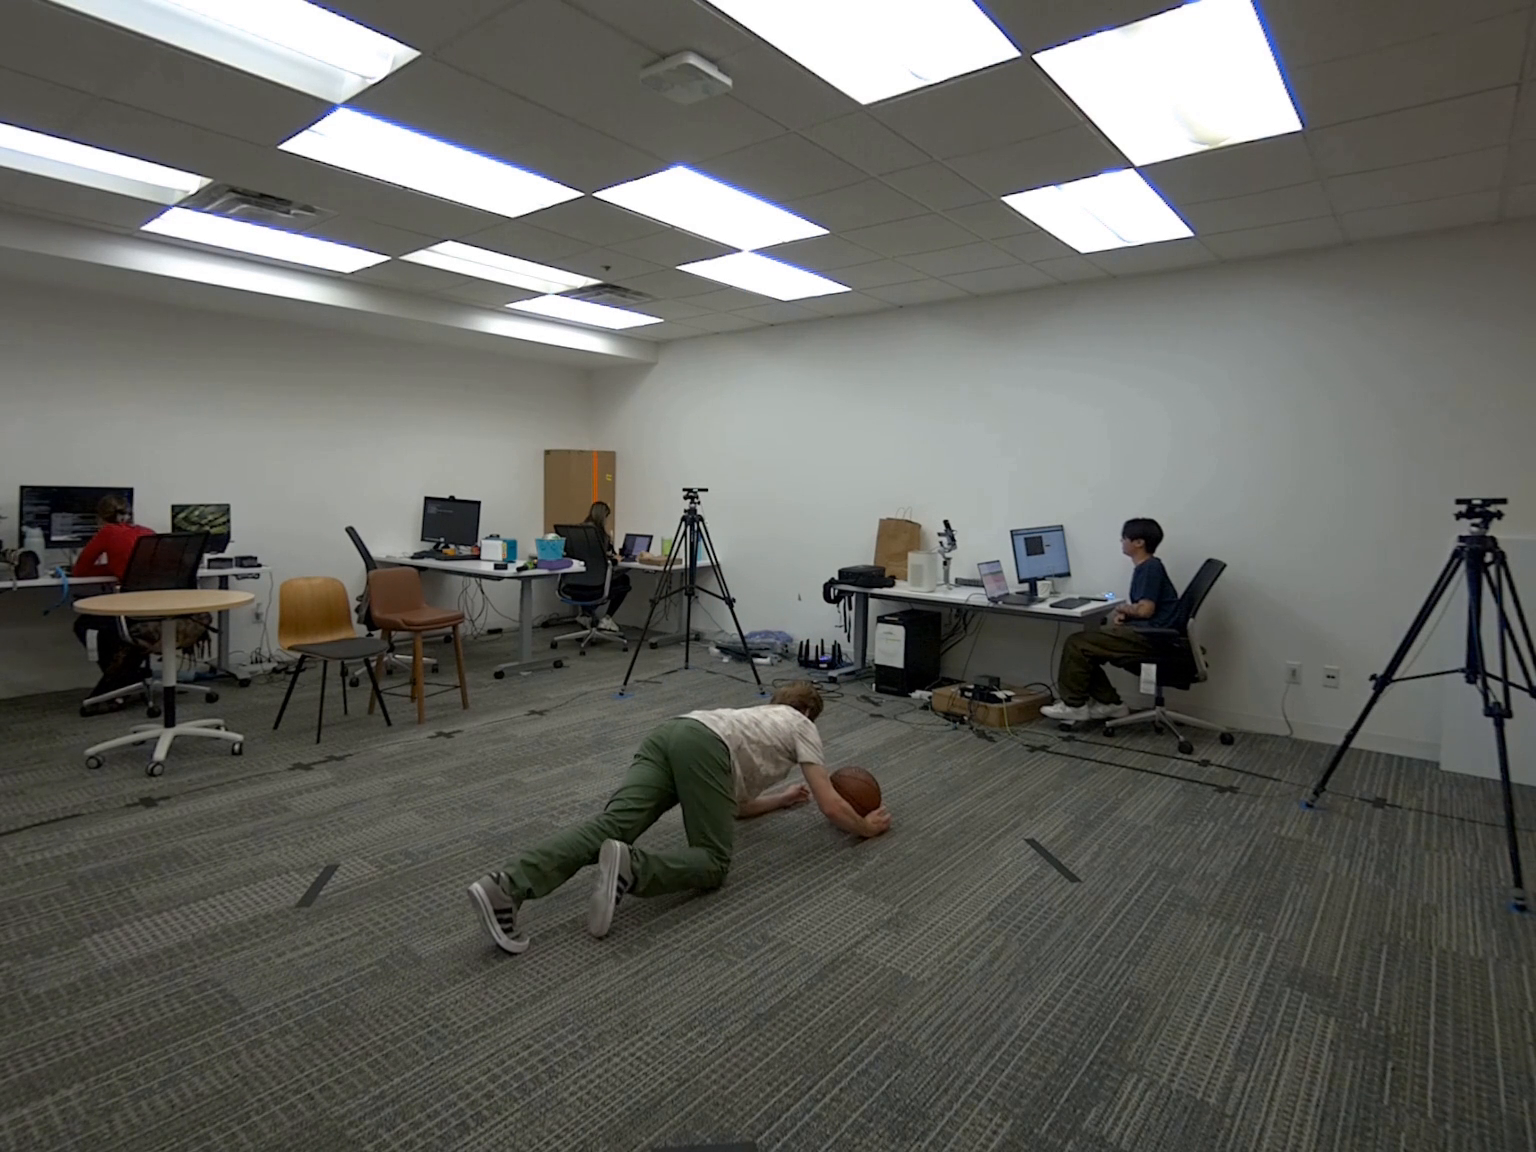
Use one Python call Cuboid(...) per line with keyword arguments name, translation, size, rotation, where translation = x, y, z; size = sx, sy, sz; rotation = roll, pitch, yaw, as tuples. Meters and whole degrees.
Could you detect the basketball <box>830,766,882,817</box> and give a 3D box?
Cuboid(name="basketball", translation=(0.348, 0.913, 3.566), size=(0.235, 0.235, 0.237), rotation=(1, 4, -2))
